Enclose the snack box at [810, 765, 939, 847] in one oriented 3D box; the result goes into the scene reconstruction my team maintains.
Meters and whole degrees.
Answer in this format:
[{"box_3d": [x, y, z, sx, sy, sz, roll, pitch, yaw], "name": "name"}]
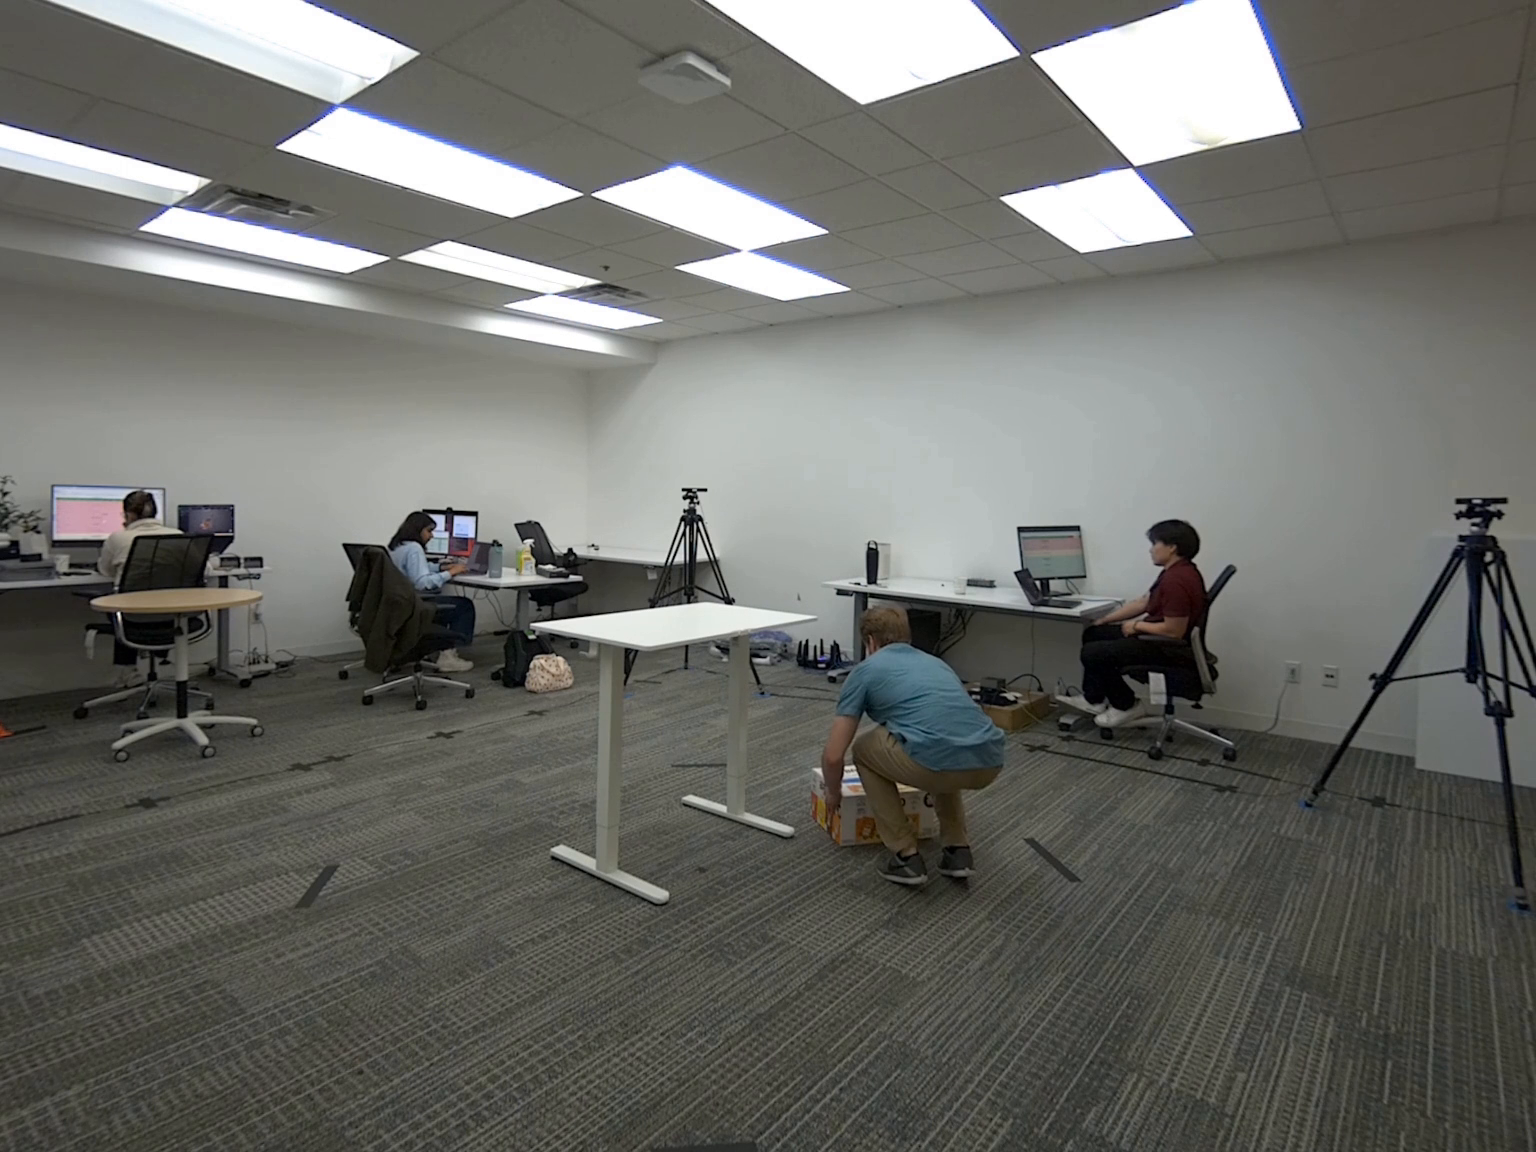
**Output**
[{"box_3d": [0.420, 0.944, 3.543, 0.399, 0.205, 0.347, 0, 4, -16], "name": "snack box"}]
